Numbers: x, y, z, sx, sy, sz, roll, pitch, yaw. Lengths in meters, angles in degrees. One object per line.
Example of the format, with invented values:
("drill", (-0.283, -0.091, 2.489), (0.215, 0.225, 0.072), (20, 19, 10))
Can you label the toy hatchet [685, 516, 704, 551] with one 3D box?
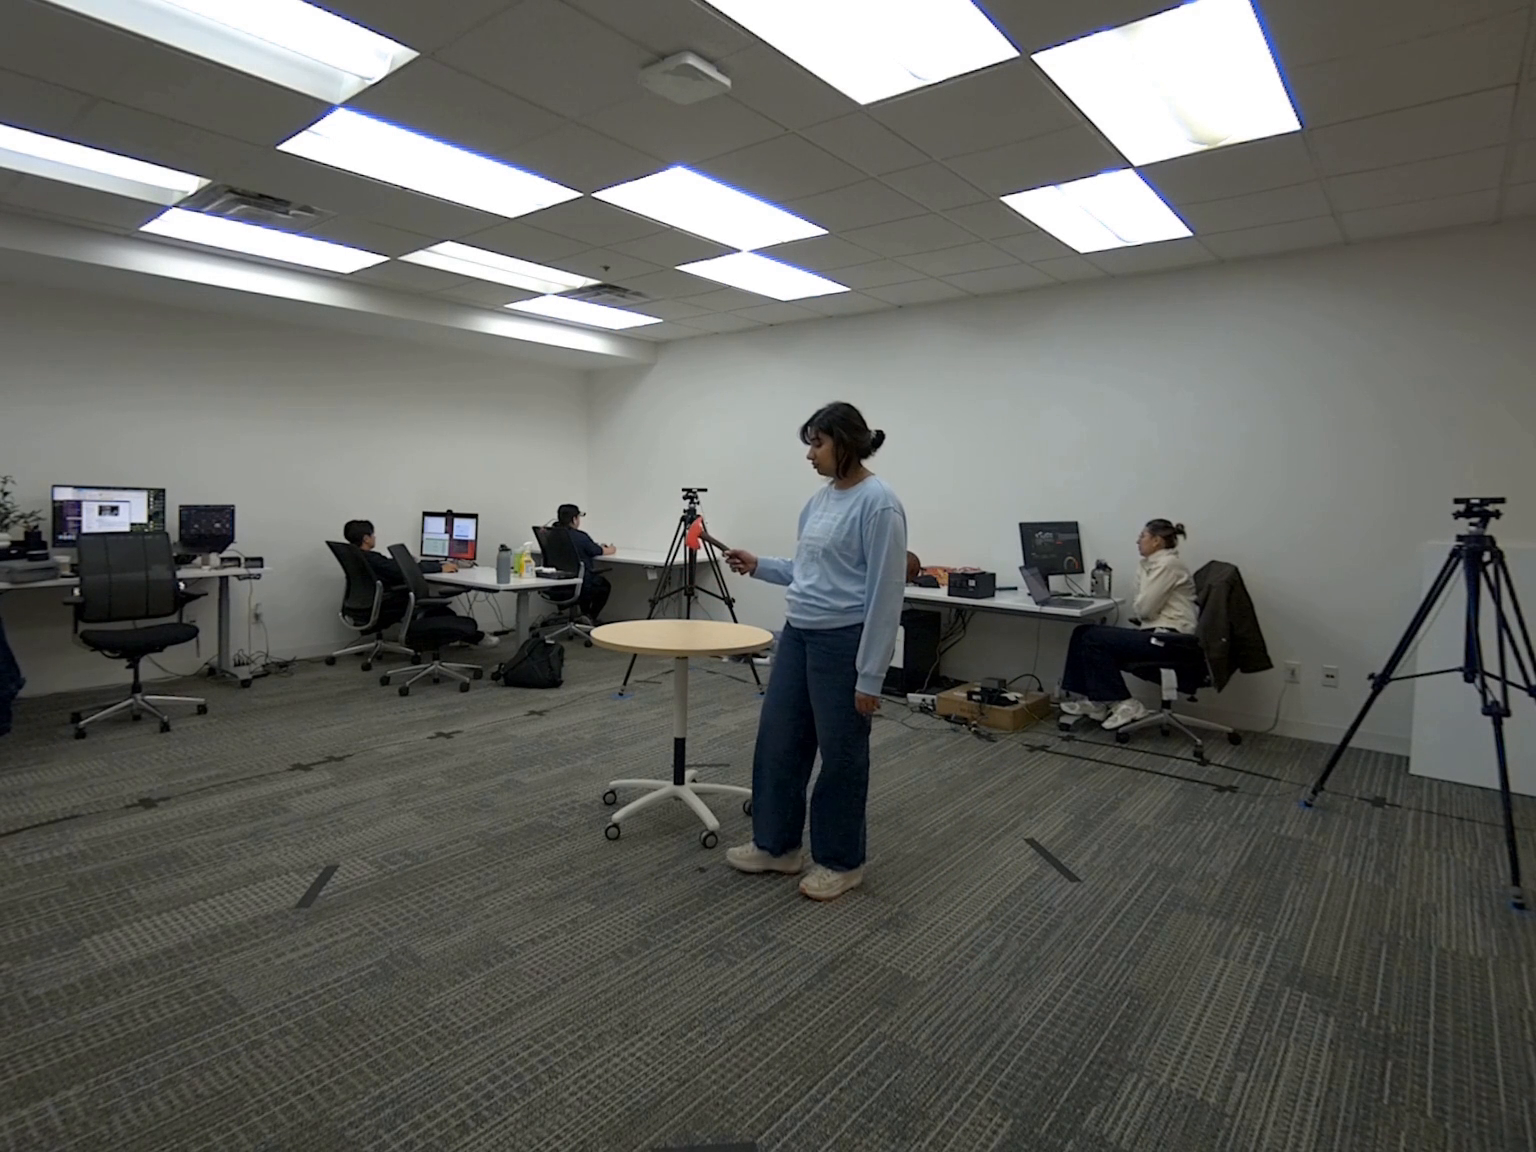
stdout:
("toy hatchet", (-0.197, -0.079, 3.068), (0.130, 0.271, 0.029), (-43, -2, -31))
